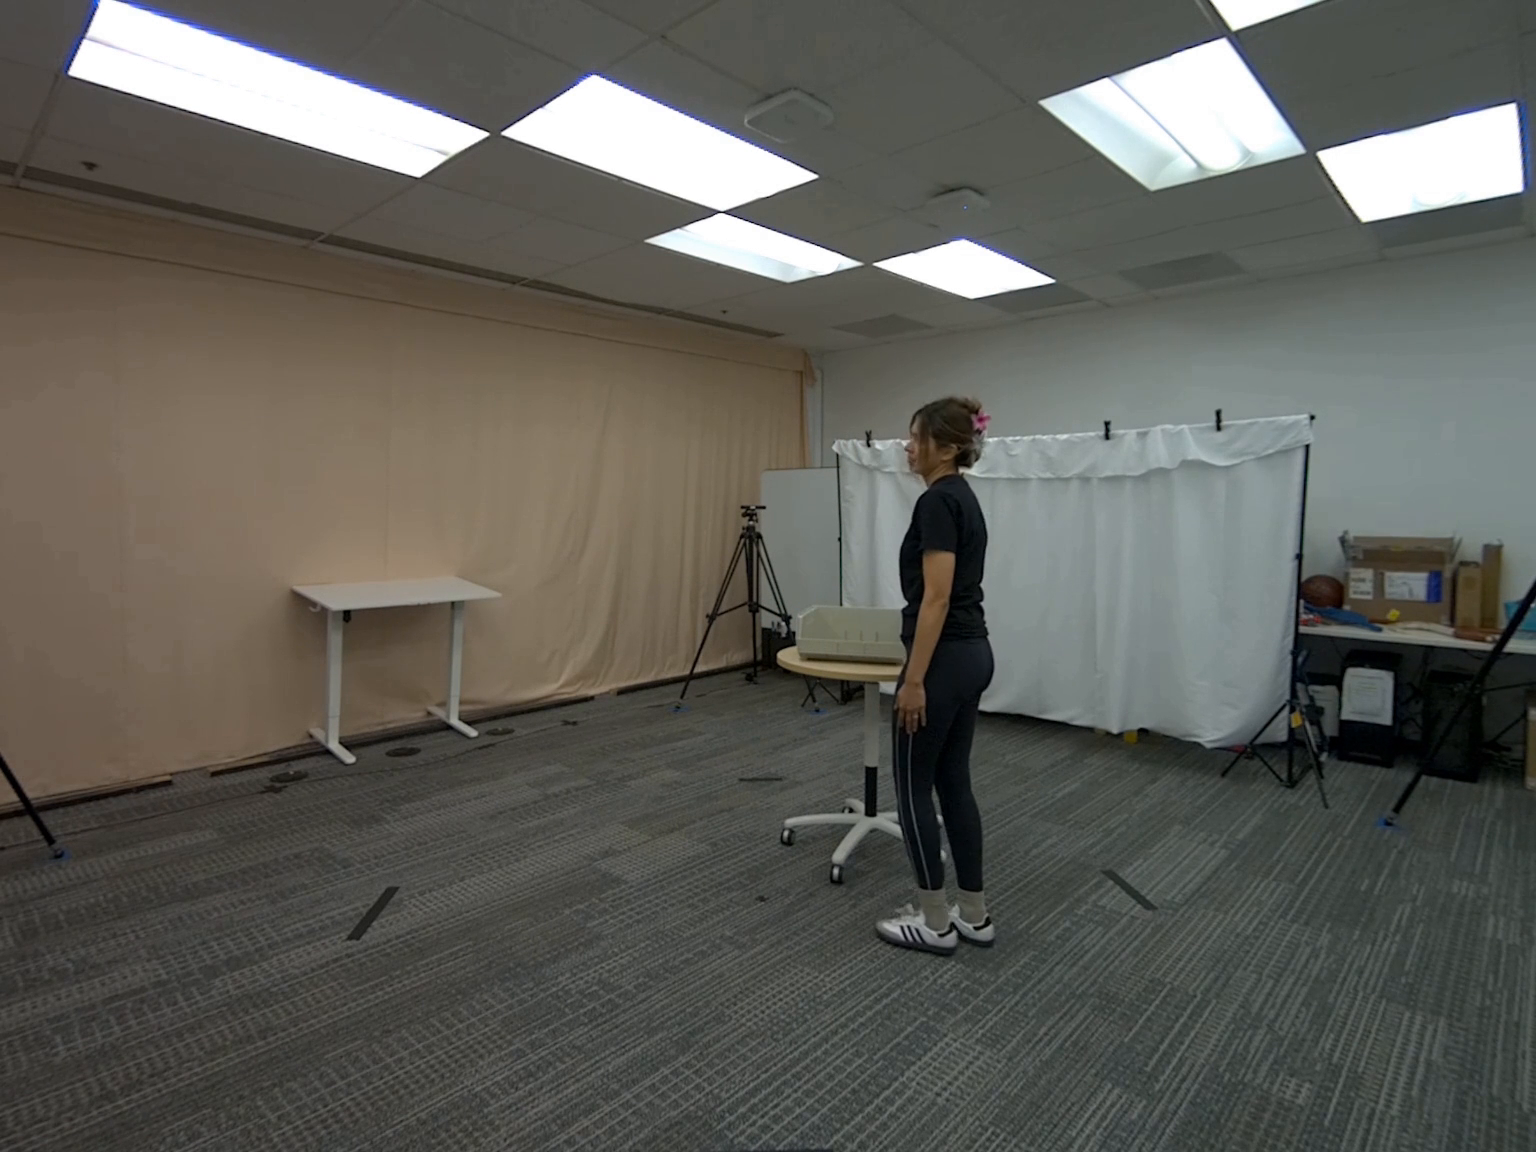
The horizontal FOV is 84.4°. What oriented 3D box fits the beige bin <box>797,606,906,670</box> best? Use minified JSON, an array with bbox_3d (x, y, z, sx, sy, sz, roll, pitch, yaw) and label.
[{"bbox_3d":[0.359,0.236,3.362,0.429,0.189,0.372,1,3,14],"label":"beige bin"}]
